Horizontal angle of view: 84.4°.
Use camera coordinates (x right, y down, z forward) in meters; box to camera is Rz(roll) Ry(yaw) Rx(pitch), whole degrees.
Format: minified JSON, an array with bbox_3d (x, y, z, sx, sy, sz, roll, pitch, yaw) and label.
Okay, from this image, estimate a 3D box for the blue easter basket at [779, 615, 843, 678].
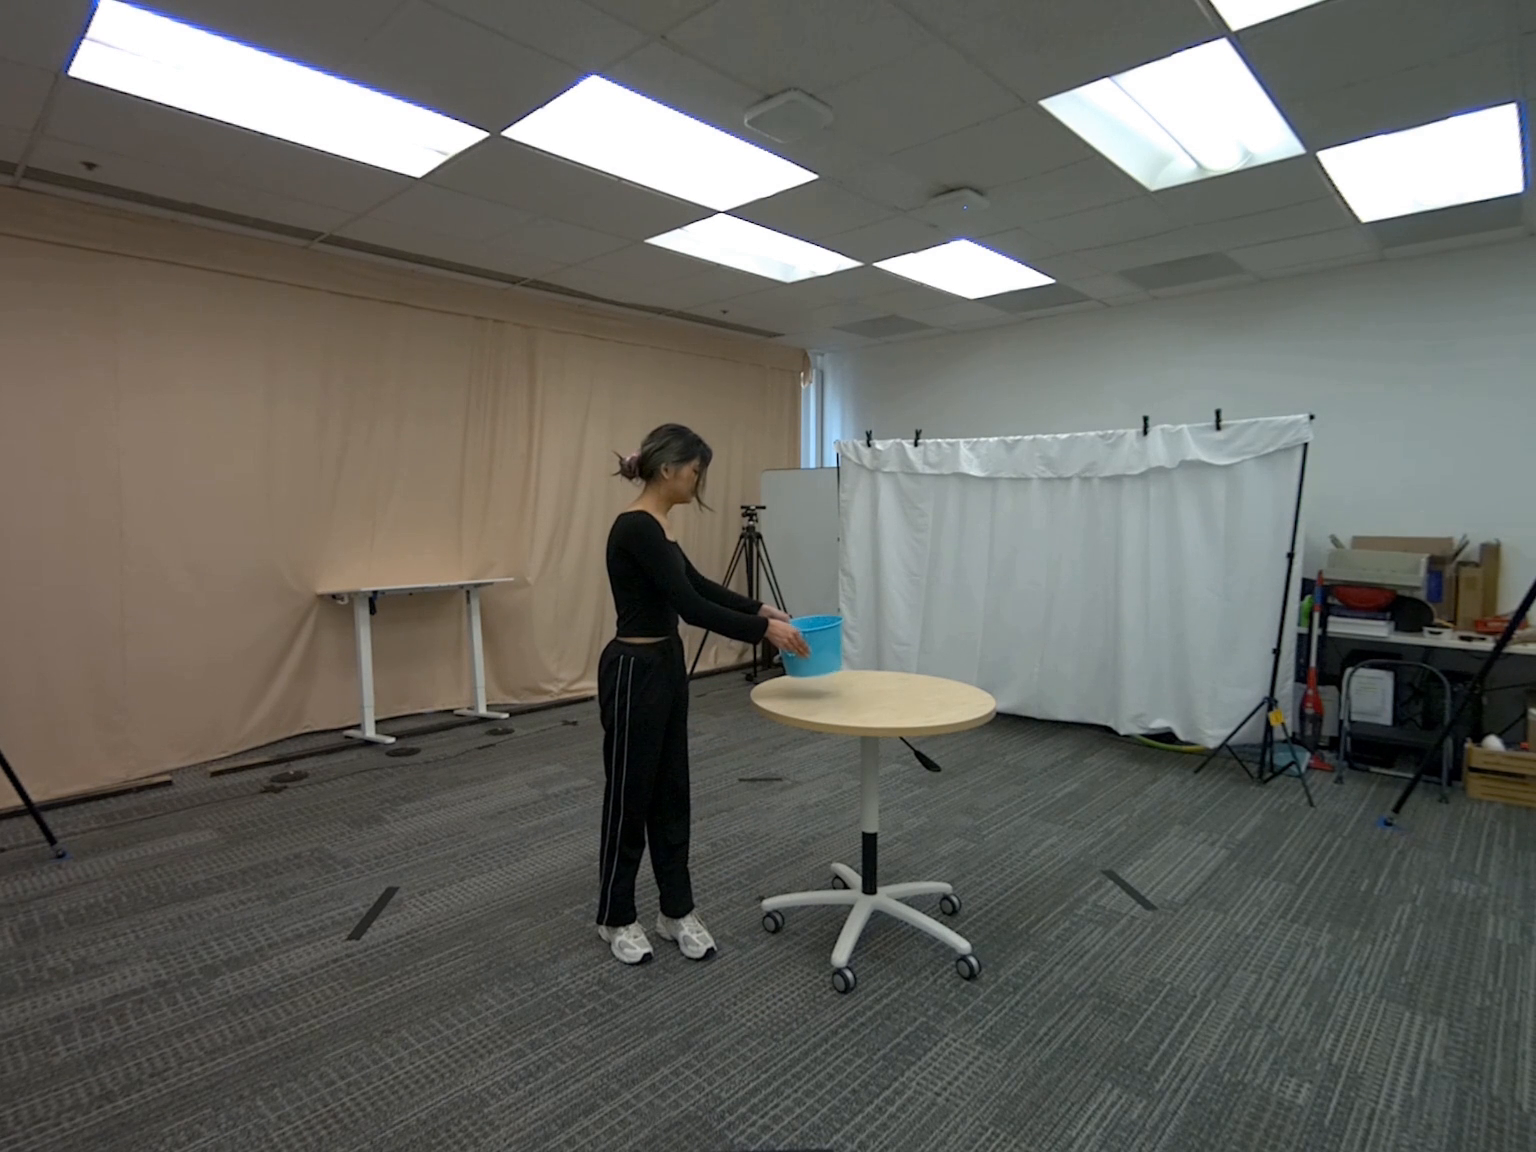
[{"bbox_3d":[0.128,0.230,2.671,0.243,0.155,0.245,-7,7,-1],"label":"blue easter basket"}]
